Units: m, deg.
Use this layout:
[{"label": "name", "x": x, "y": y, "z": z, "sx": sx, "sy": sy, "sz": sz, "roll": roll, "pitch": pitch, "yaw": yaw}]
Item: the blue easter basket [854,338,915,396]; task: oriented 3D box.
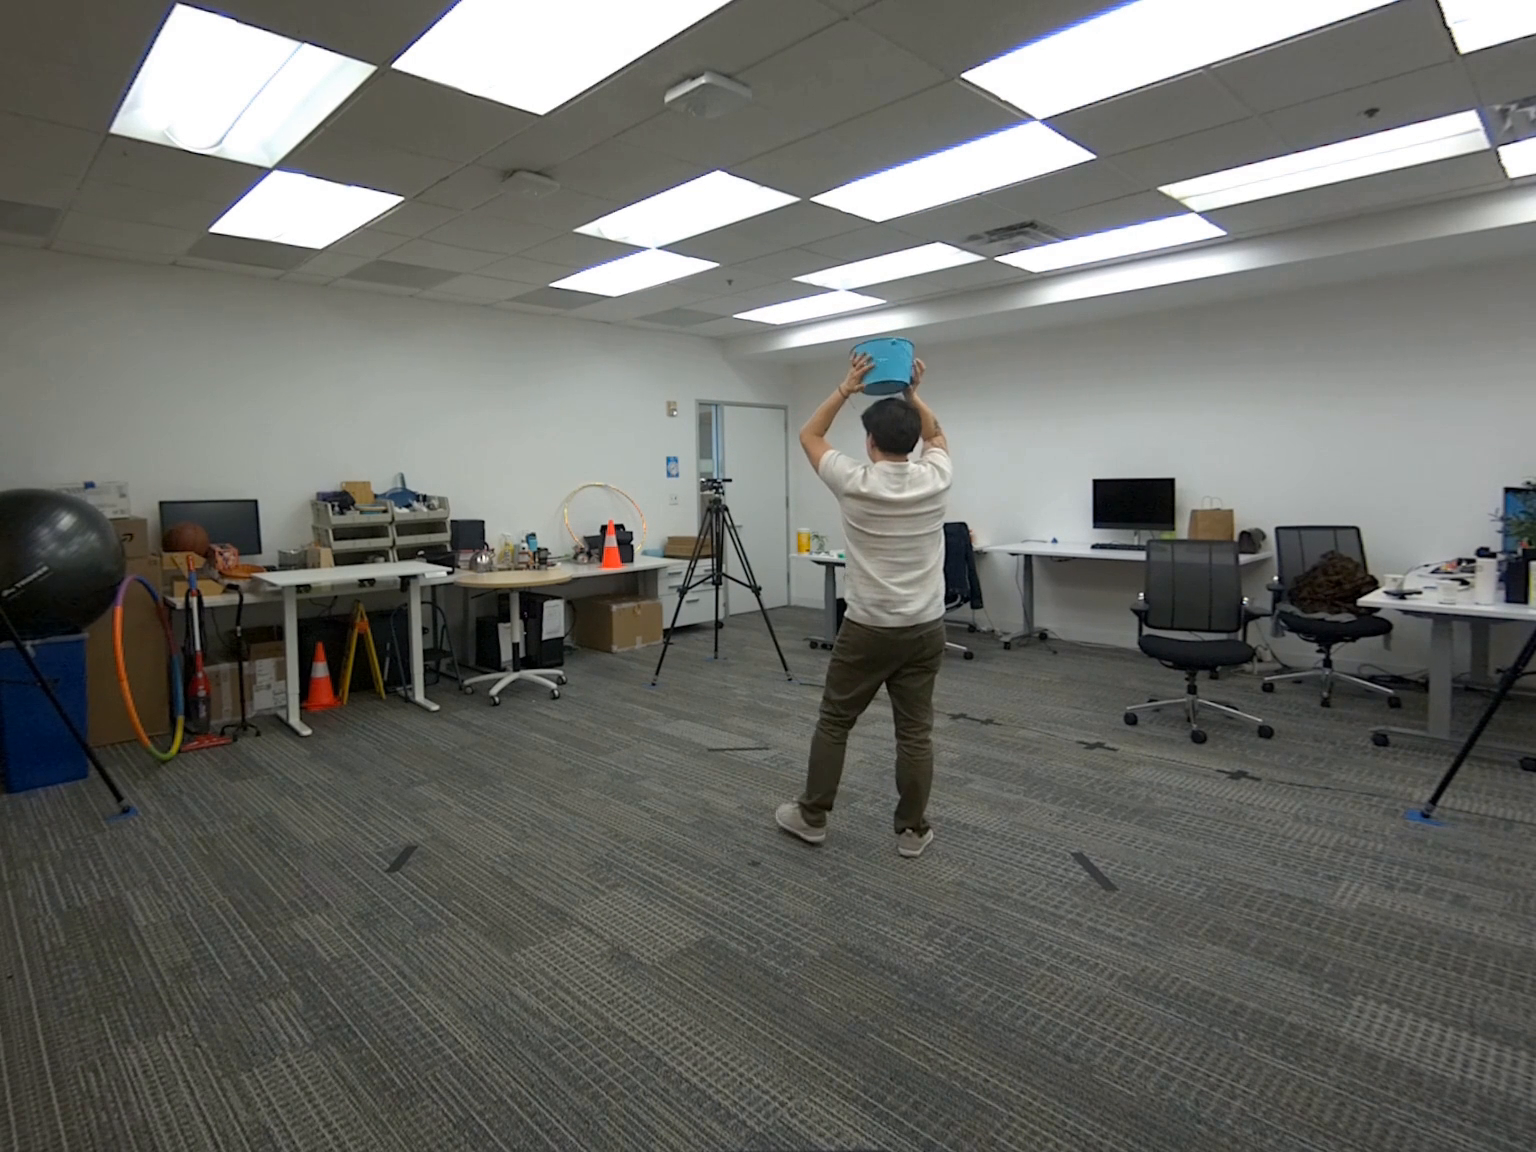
[{"label": "blue easter basket", "x": 0.436, "y": -0.768, "z": 3.166, "sx": 0.243, "sy": 0.157, "sz": 0.242, "roll": -1, "pitch": -7, "yaw": -2}]
